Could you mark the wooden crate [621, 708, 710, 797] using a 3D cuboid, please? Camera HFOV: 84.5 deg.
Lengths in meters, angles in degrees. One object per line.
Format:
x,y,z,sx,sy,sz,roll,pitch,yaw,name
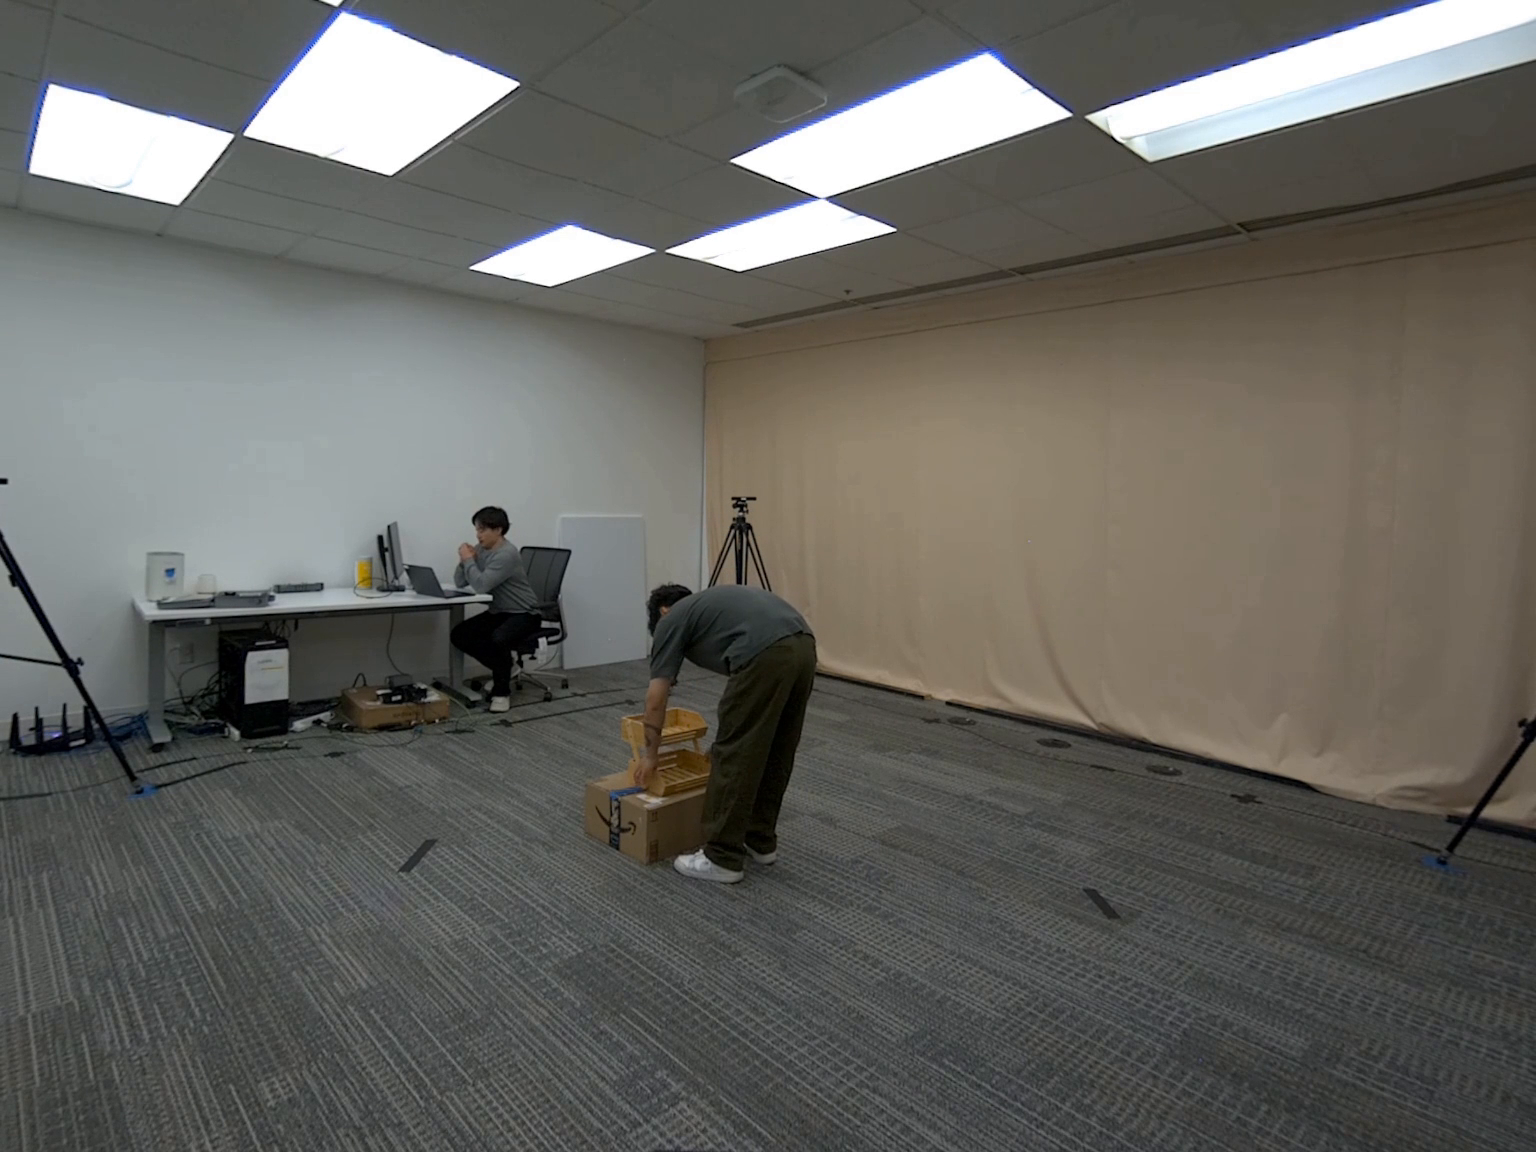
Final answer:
-0.413,0.720,3.509,0.317,0.273,0.310,-2,4,-44,wooden crate
